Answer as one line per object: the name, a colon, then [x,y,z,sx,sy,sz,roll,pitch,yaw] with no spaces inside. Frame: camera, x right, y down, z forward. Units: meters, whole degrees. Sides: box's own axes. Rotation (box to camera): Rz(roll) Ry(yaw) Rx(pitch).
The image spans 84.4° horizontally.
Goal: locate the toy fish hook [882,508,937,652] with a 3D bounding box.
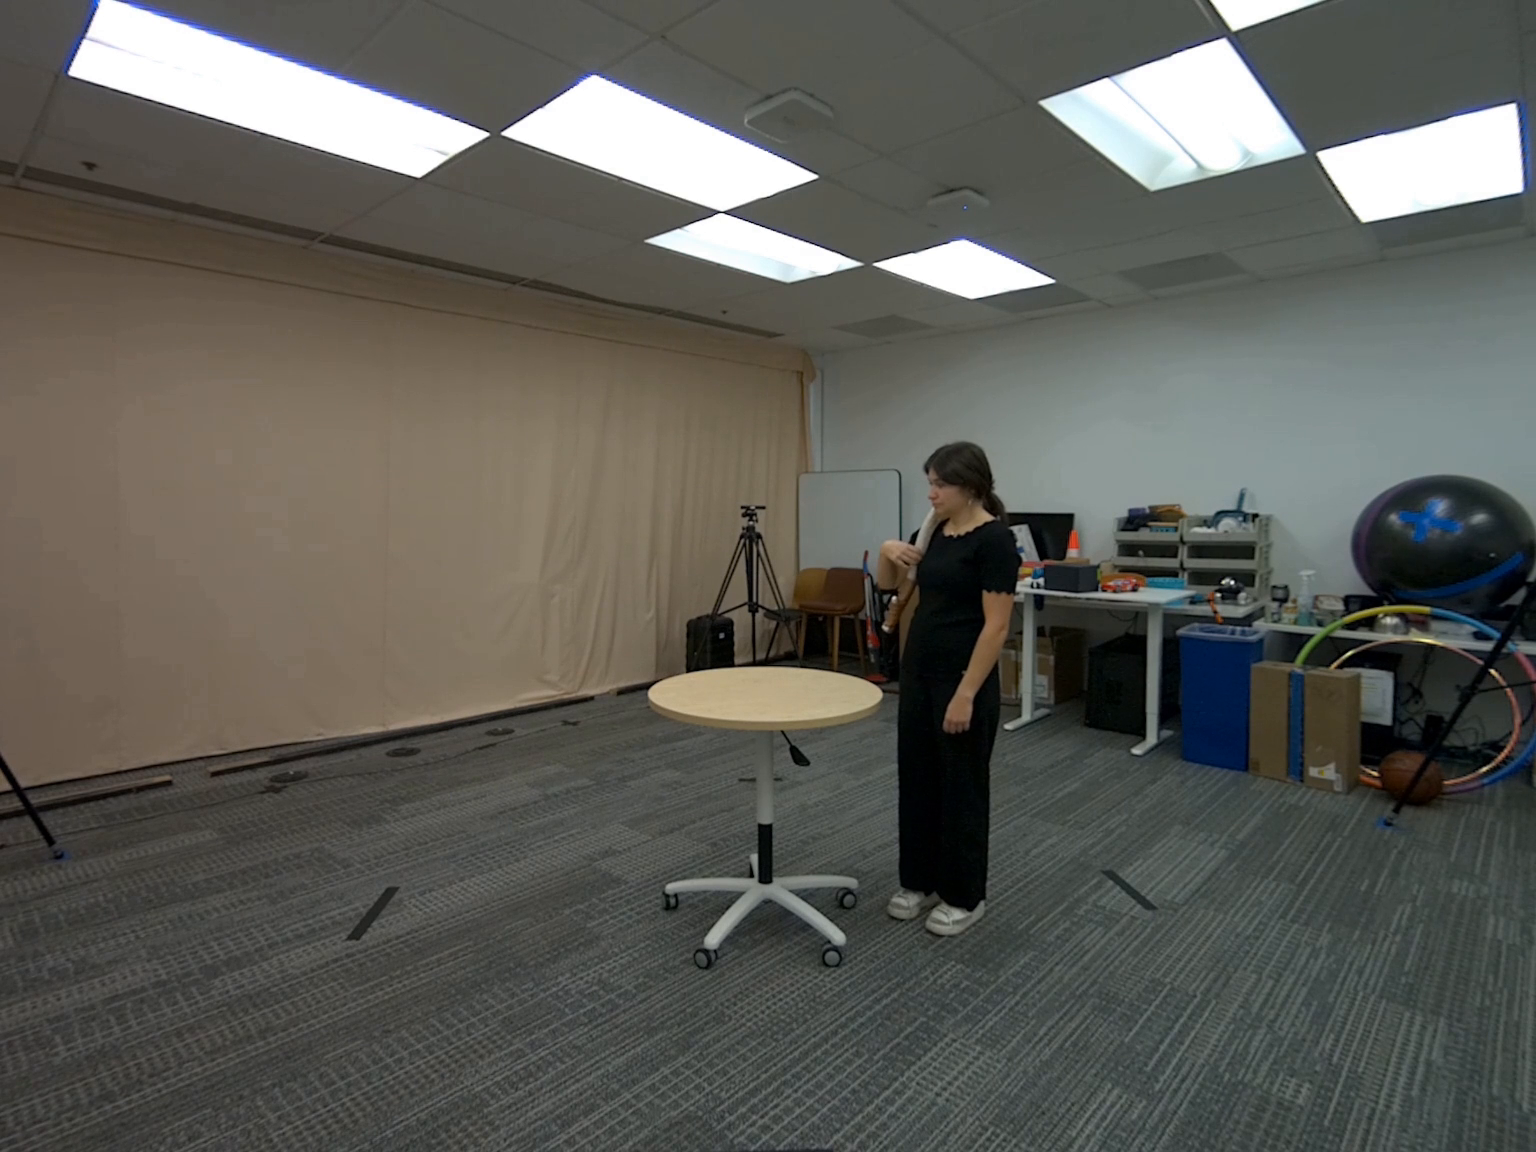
toy fish hook: [0.554,-0.025,2.927,0.217,0.506,0.050,21,8,-38]
